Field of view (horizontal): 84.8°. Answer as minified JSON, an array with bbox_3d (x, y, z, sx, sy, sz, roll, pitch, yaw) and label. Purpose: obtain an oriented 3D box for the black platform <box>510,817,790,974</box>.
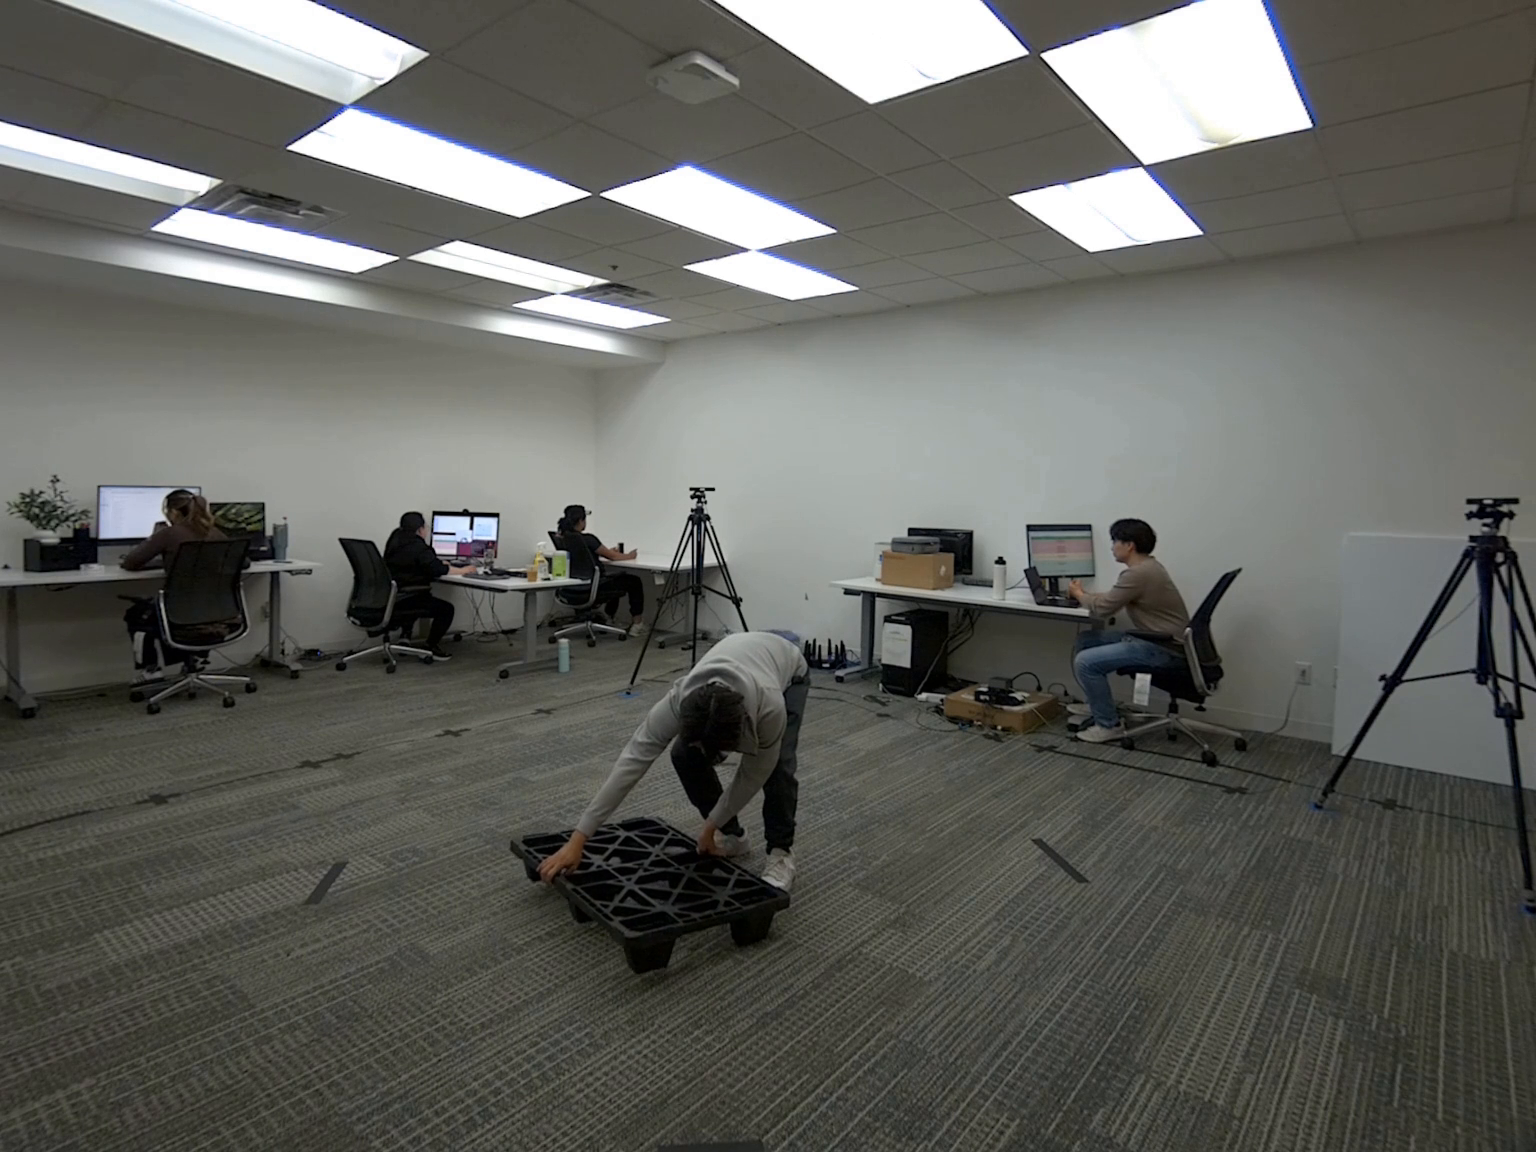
[{"bbox_3d":[-0.423,1.013,2.785,0.585,0.143,0.833,4,3,-39],"label":"black platform"}]
